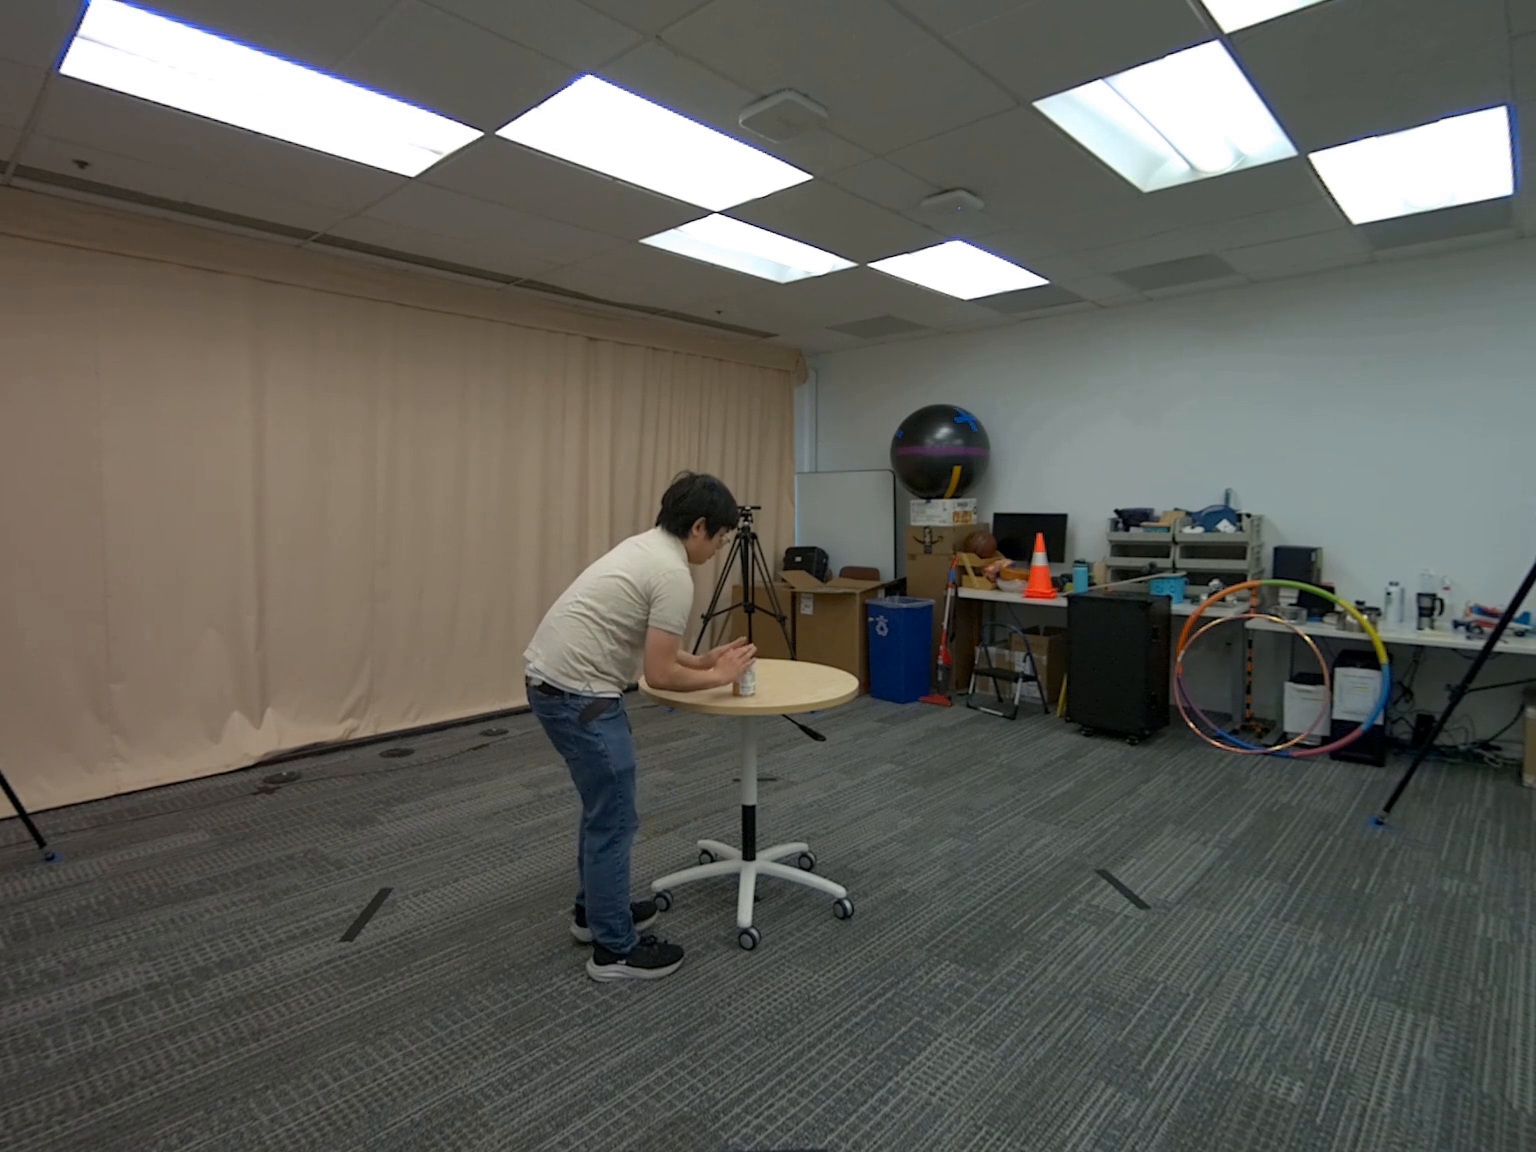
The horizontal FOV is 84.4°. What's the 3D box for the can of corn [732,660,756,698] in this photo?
[{"bbox_3d":[-0.073,0.333,2.716,0.074,0.111,0.074,-1,5,-2],"label":"can of corn"}]
